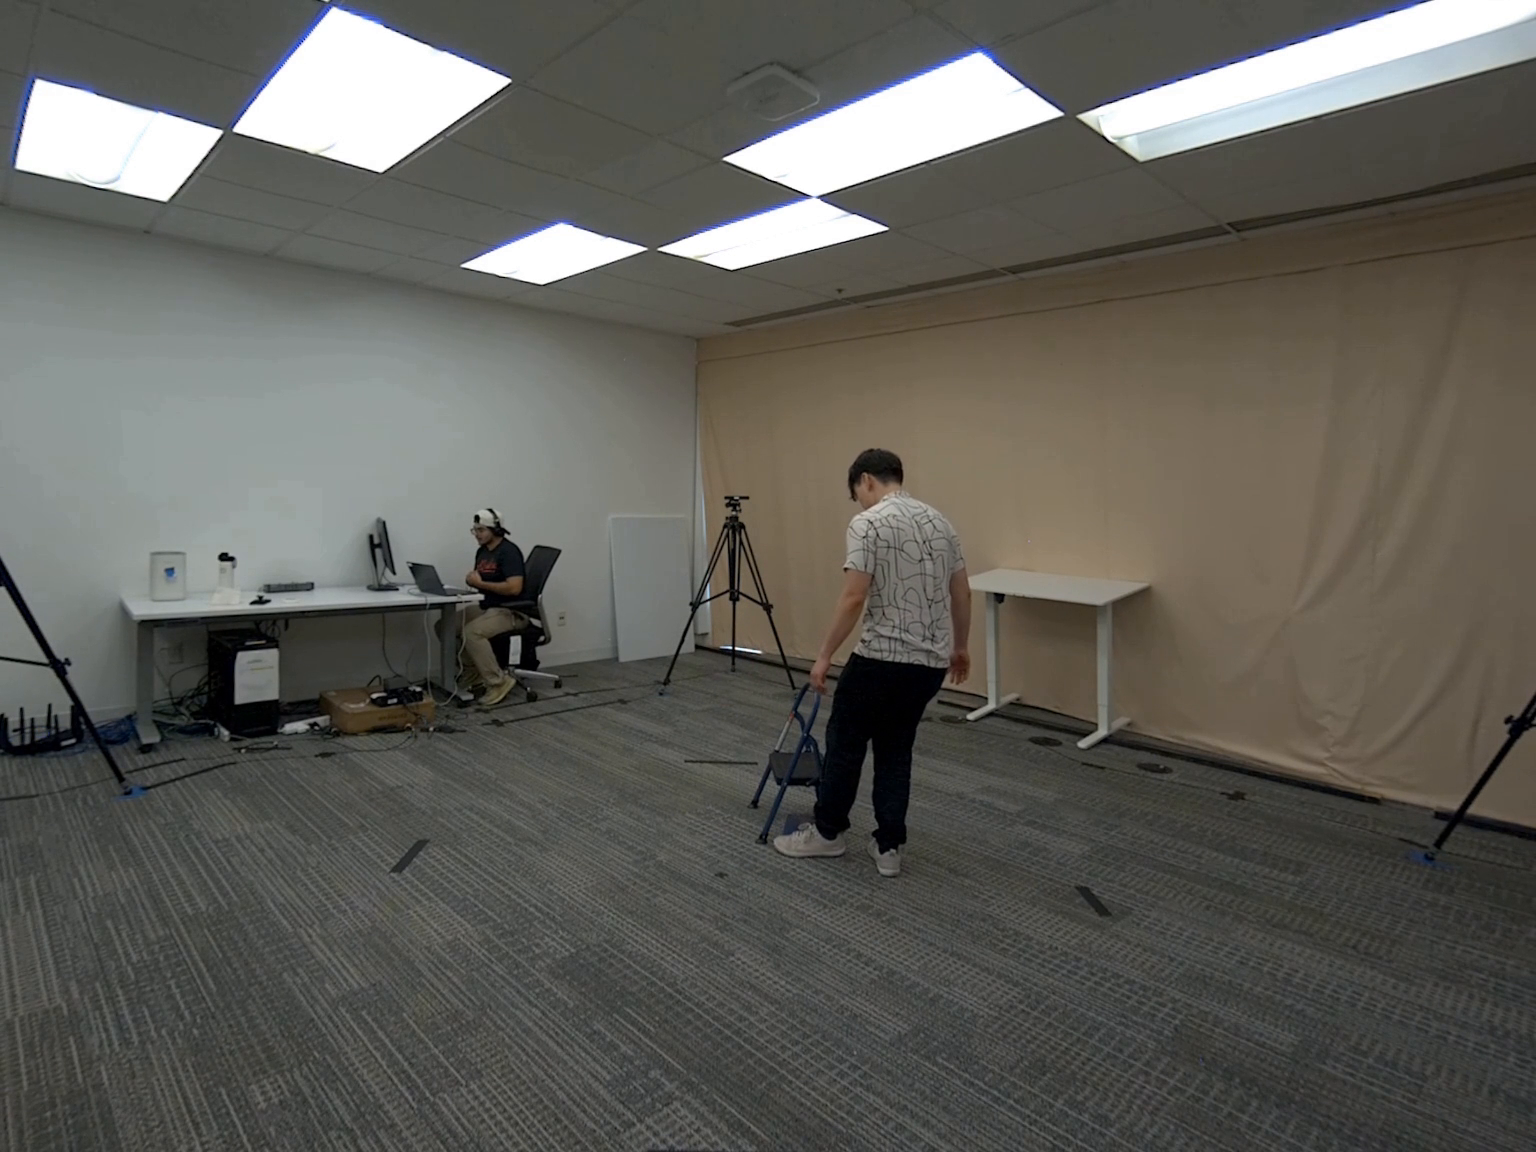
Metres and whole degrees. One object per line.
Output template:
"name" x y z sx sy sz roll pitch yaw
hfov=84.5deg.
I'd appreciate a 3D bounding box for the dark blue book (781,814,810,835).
"dark blue book" 0.136 1.068 3.490 0.165 0.045 0.244 2 5 8
